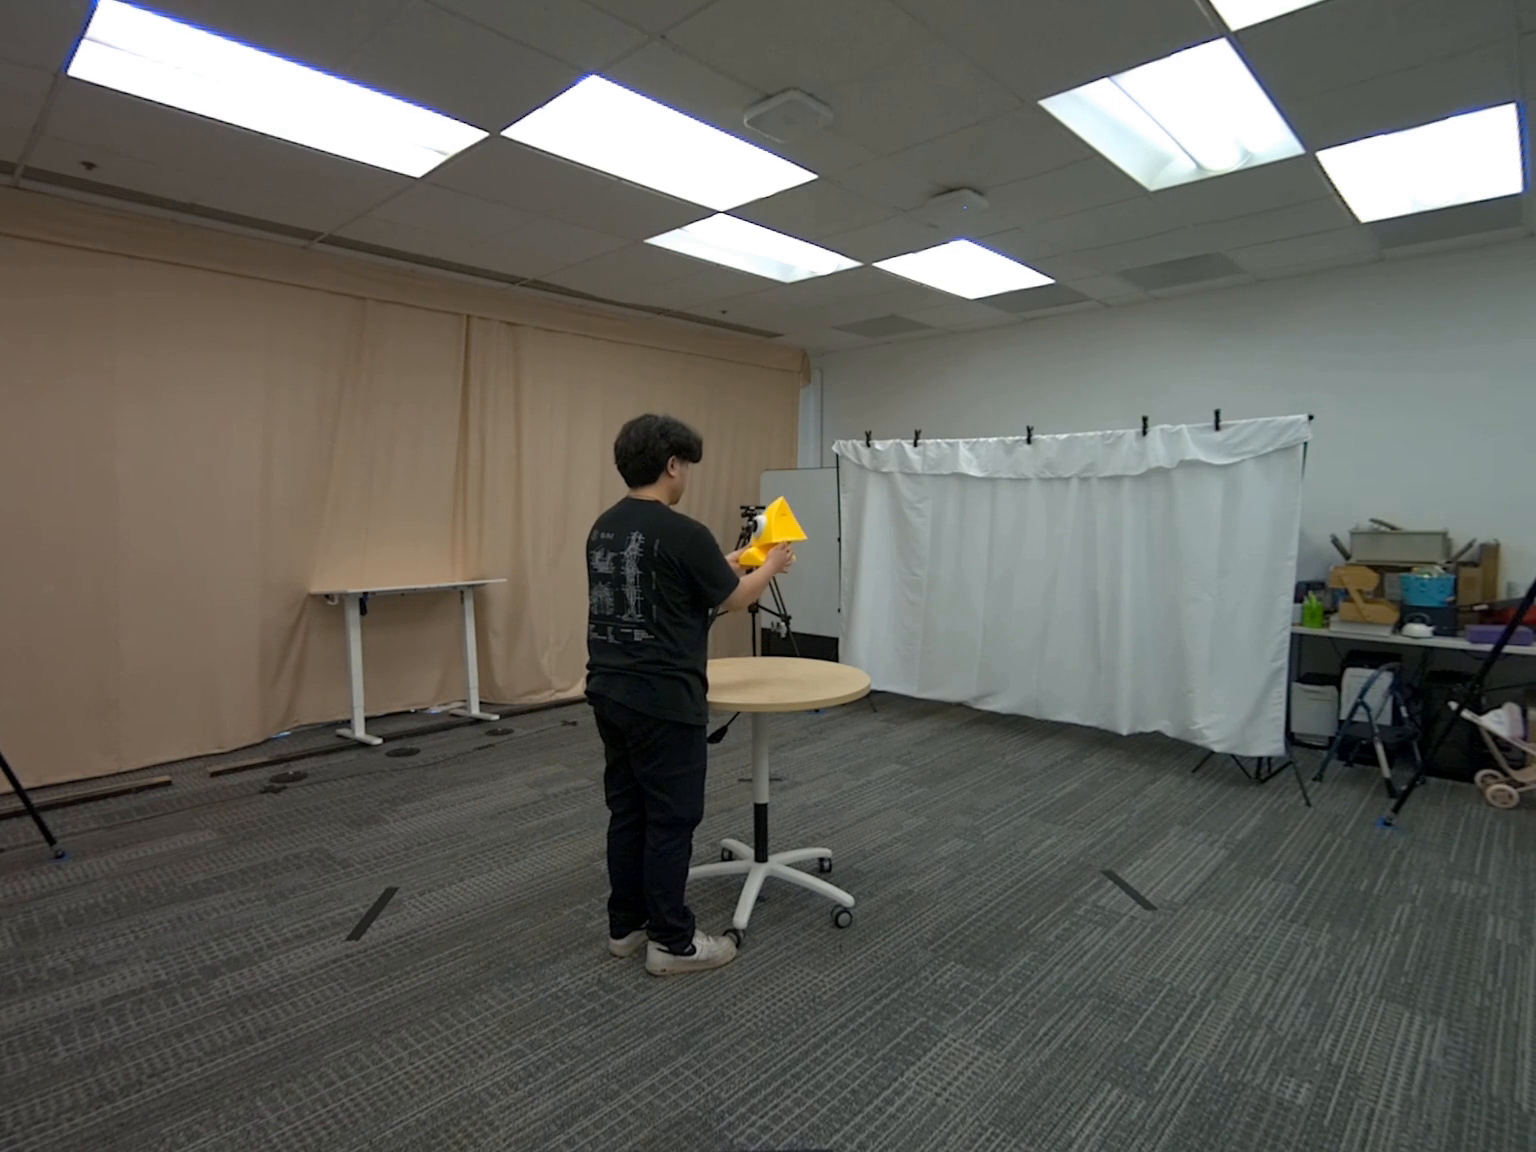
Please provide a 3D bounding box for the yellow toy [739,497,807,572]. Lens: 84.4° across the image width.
[{"bbox_3d":[0.008,-0.158,2.927,0.199,0.230,0.199,4,7,39],"label":"yellow toy"}]
